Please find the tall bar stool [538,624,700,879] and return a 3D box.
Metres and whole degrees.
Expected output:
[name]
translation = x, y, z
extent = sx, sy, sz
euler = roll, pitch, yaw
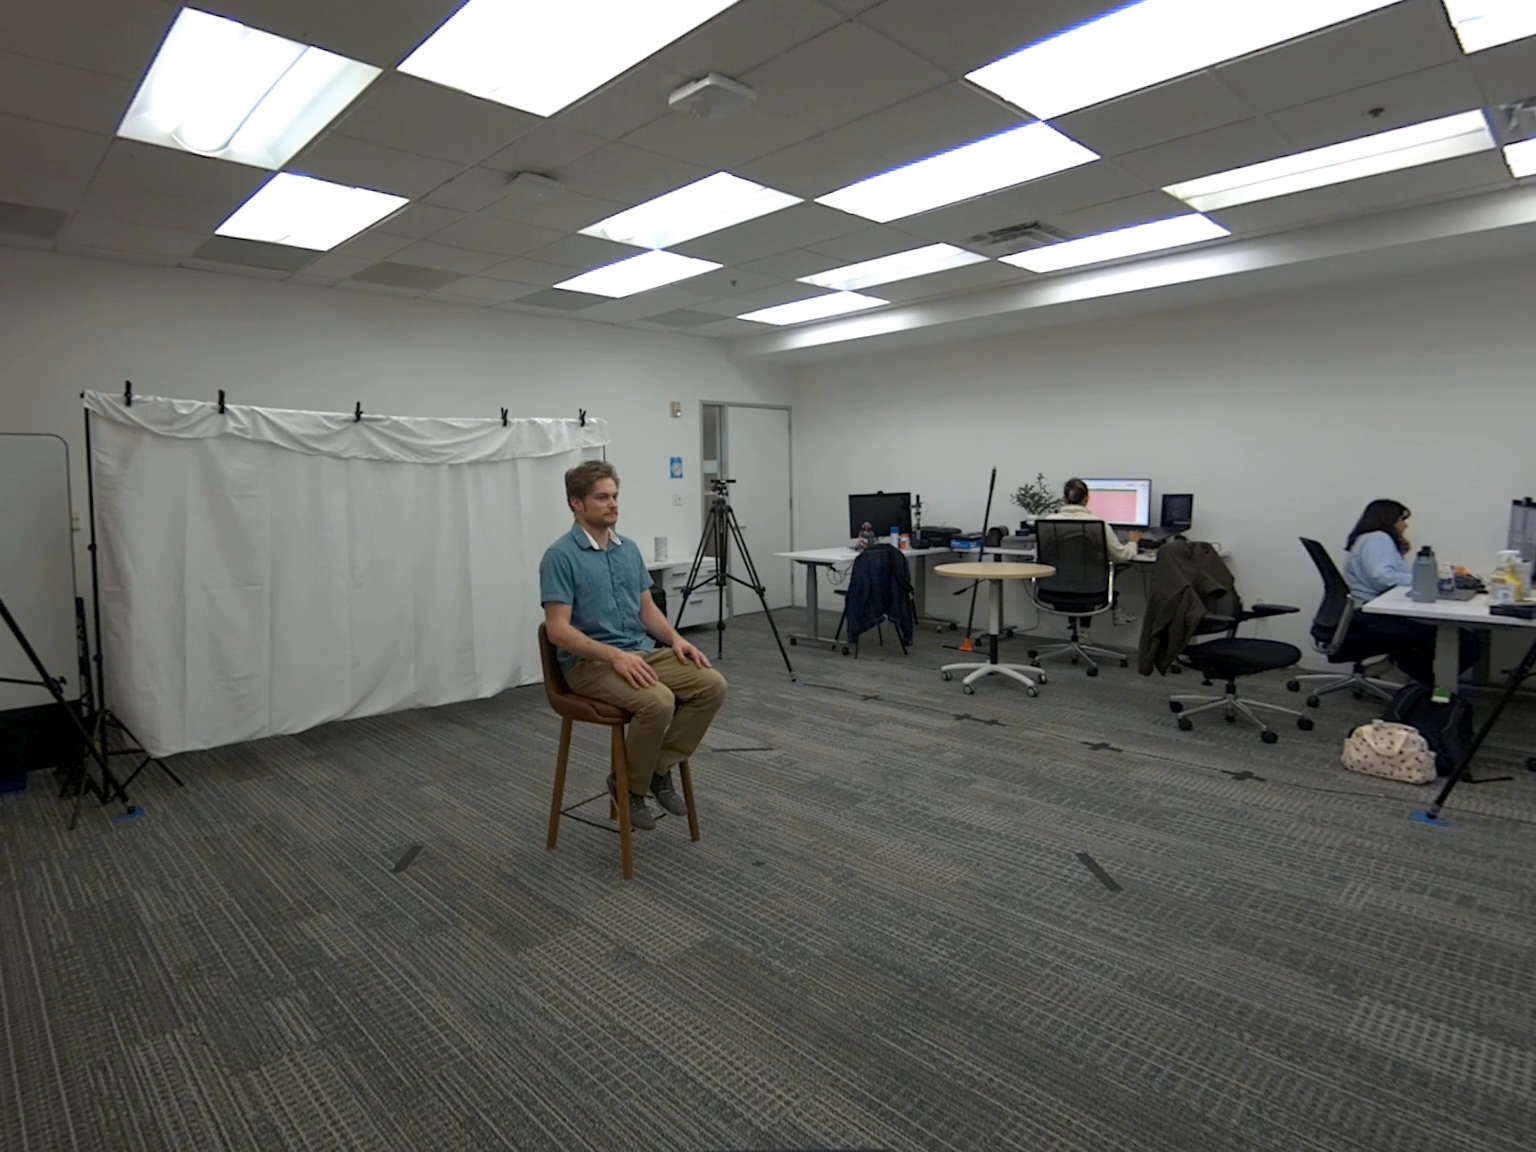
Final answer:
[tall bar stool]
translation = -0.579, 0.601, 3.284
extent = 0.480, 0.888, 0.445
euler = -1, 2, 36
